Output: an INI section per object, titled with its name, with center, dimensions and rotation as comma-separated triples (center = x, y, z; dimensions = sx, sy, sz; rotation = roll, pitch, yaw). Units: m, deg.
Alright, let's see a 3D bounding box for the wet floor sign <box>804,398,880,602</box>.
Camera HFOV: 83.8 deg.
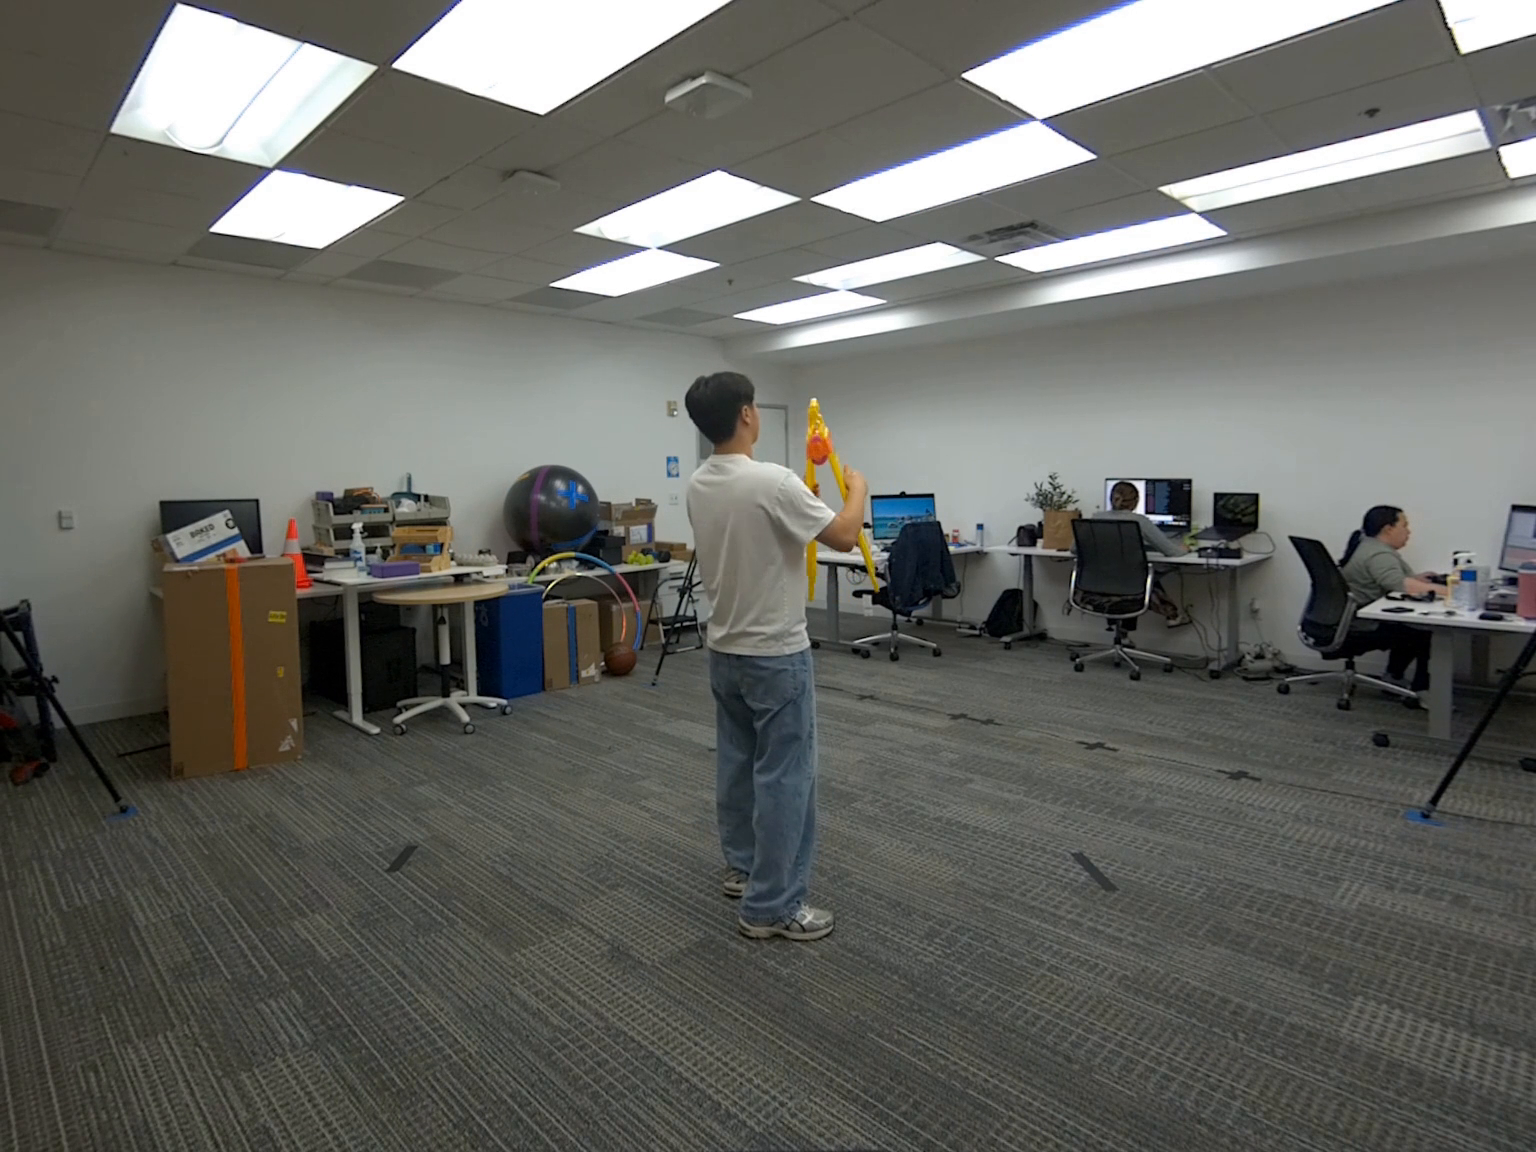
[wet floor sign]
center = 0.209, -0.277, 2.913
dimensions = 0.292, 0.636, 0.284
rotation = -8, 14, 11
